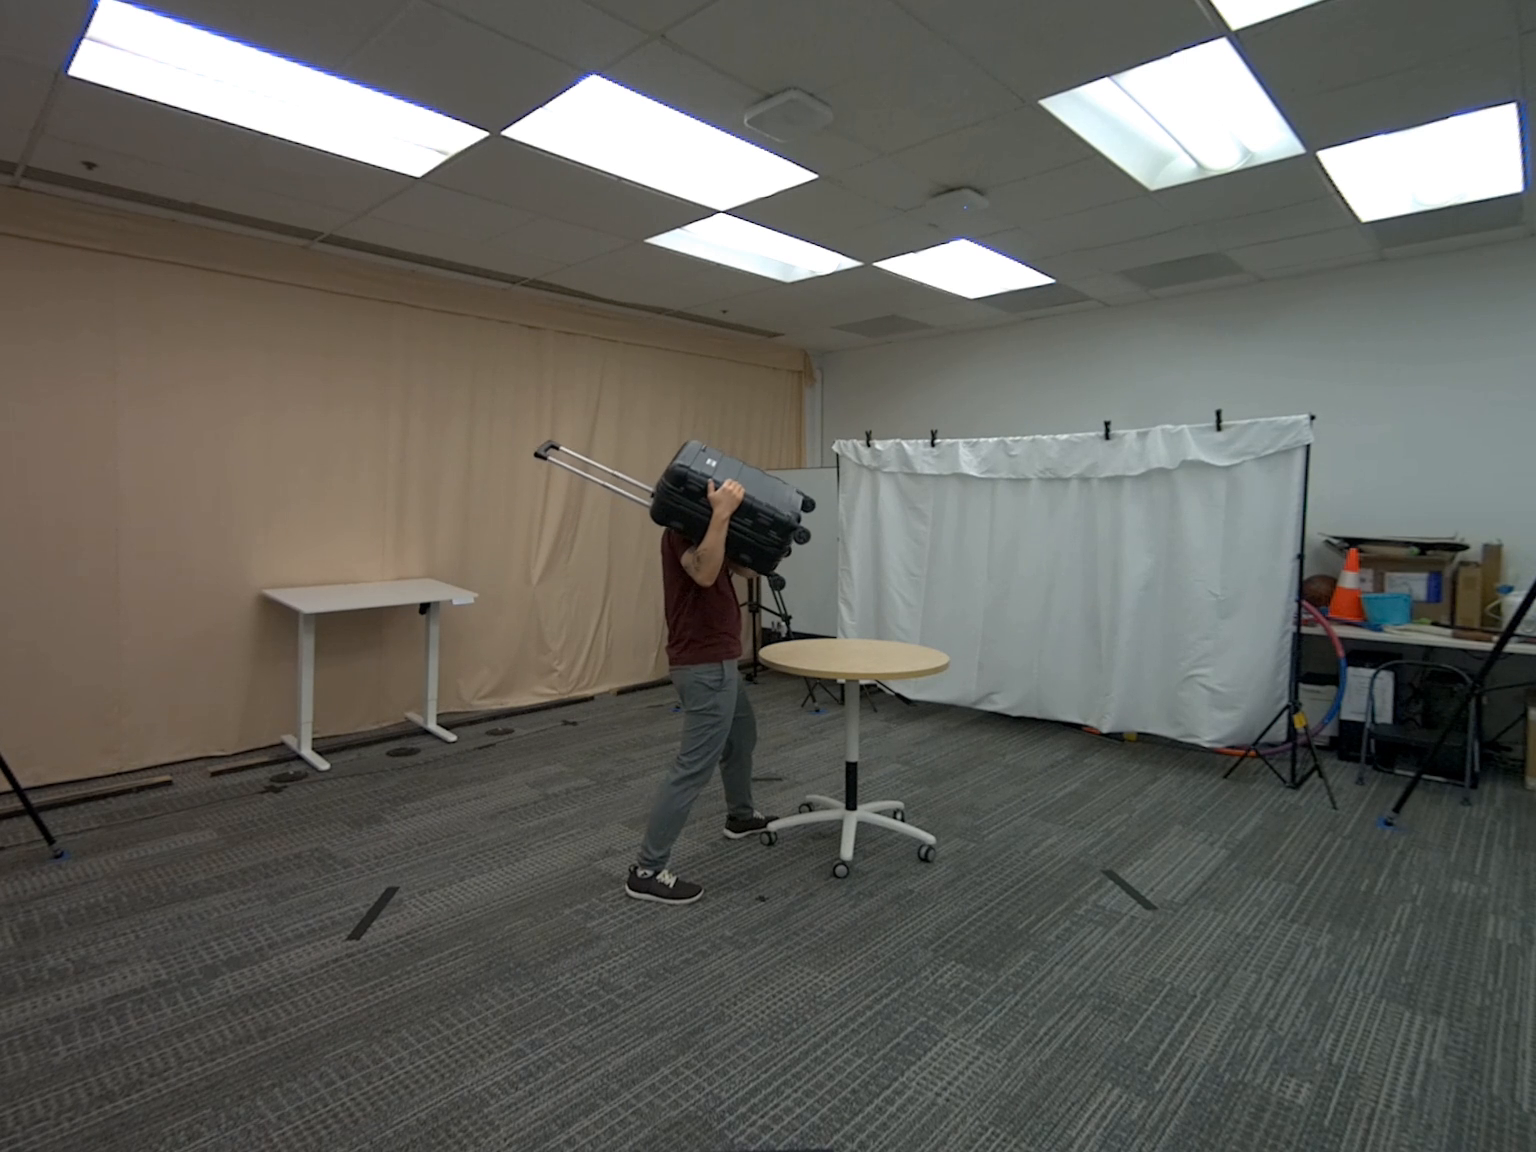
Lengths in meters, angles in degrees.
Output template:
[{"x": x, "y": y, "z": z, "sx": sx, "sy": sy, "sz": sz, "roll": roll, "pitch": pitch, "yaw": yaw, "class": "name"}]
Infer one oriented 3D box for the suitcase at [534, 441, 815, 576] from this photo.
[{"x": -0.309, "y": -0.332, "z": 2.971, "sx": 0.977, "sy": 0.257, "sz": 0.385, "roll": 27, "pitch": 26, "yaw": -2, "class": "suitcase"}]
